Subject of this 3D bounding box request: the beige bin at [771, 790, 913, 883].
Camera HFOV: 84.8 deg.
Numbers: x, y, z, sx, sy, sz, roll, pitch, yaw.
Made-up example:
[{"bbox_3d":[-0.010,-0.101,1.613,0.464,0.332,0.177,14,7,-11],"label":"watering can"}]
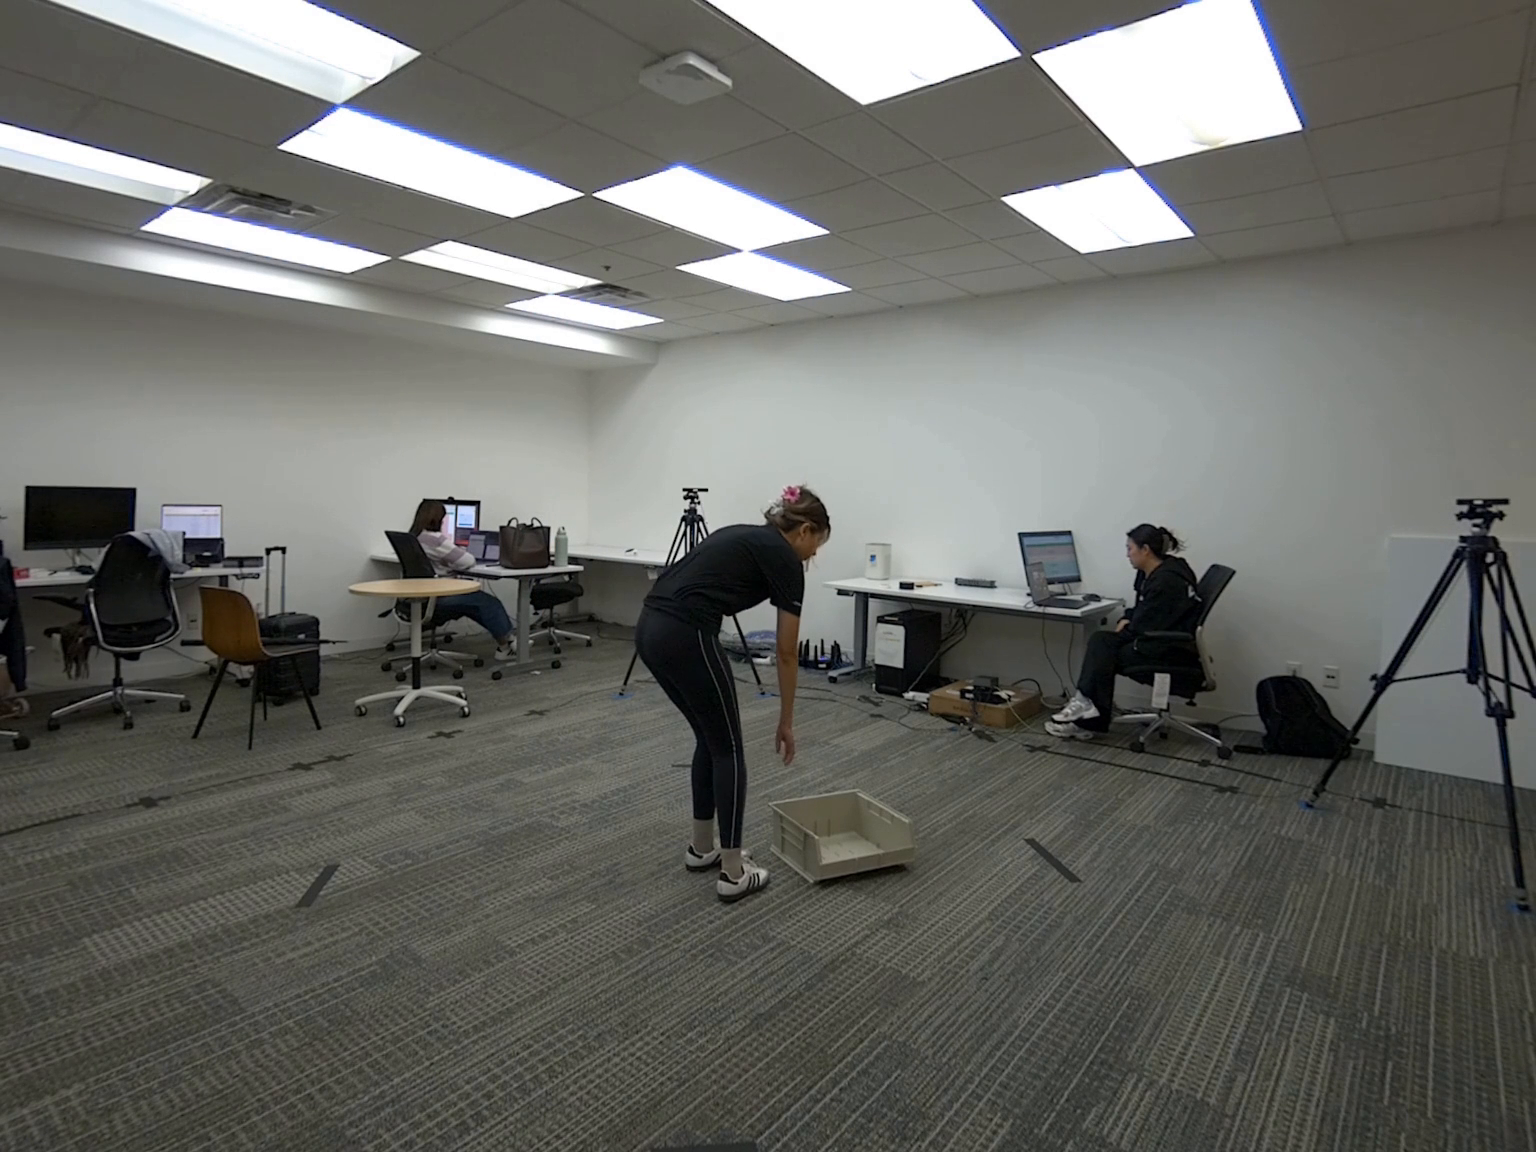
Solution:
[{"bbox_3d":[0.260,0.975,3.216,0.412,0.188,0.388,-3,5,-27],"label":"beige bin"}]
